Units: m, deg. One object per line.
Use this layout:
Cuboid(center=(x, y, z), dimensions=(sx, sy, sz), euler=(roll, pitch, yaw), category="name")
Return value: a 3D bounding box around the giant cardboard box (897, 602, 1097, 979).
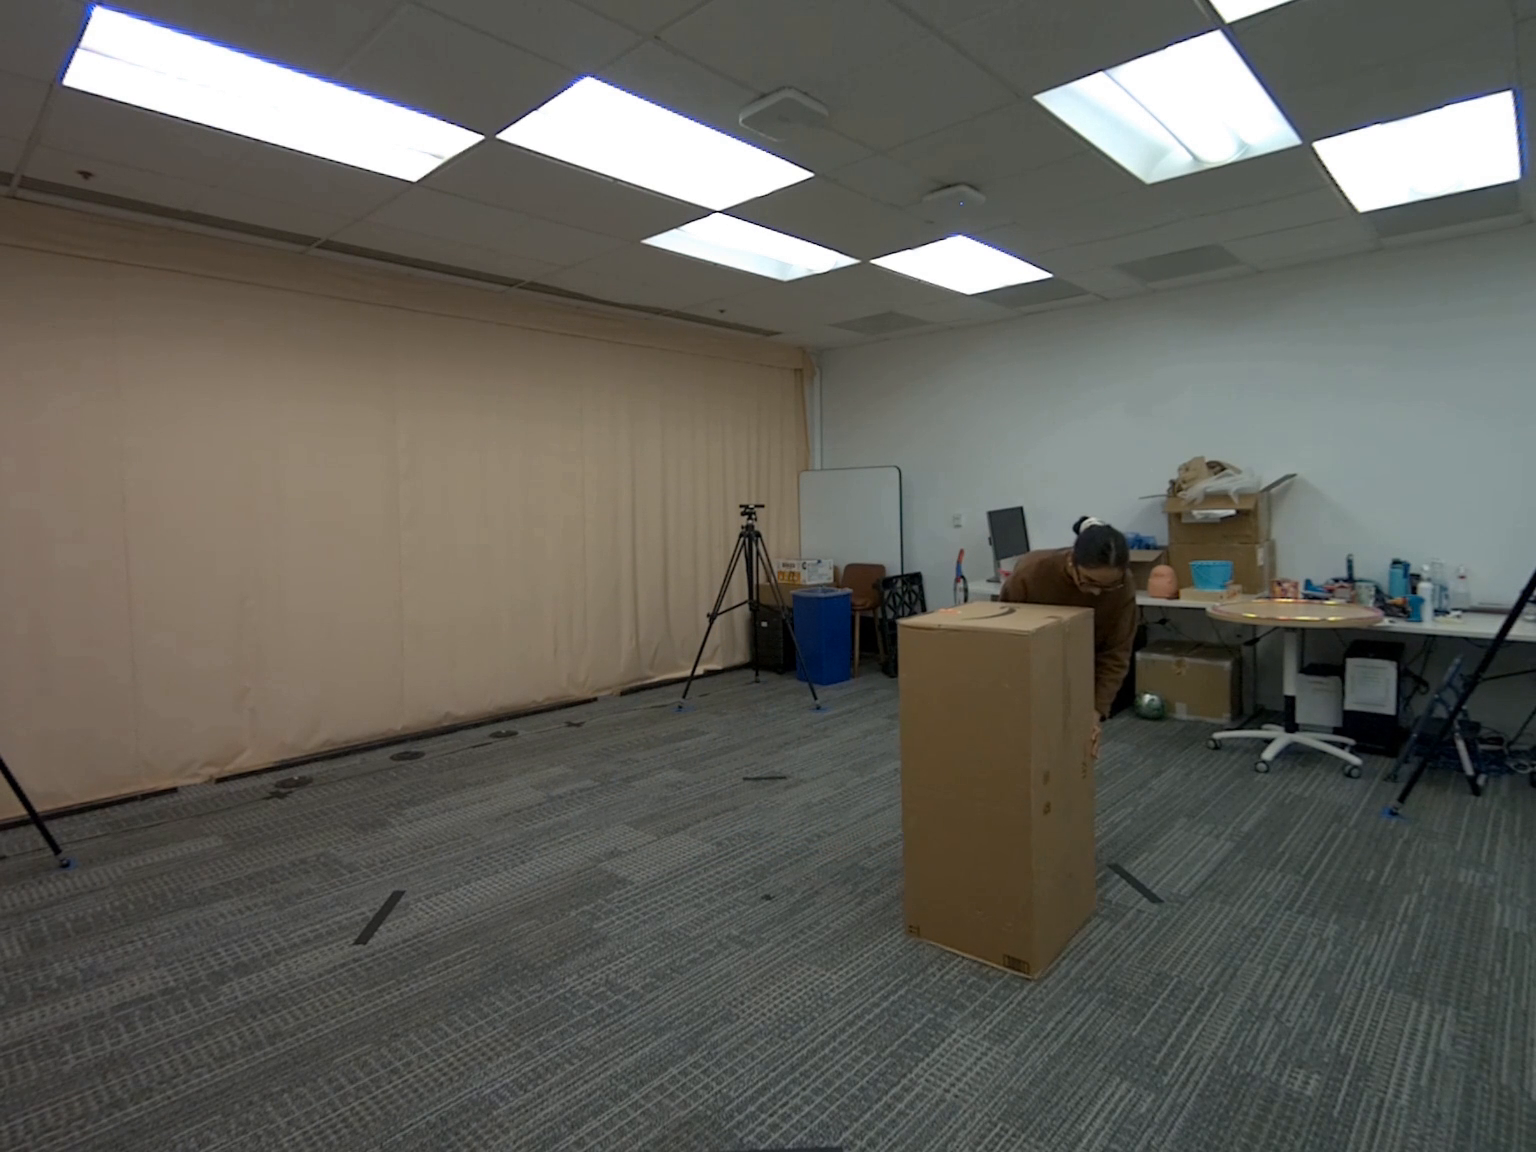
Cuboid(center=(0.761, 0.635, 2.754), dimensions=(0.440, 1.024, 0.560), euler=(0, 4, 39), category="giant cardboard box")
